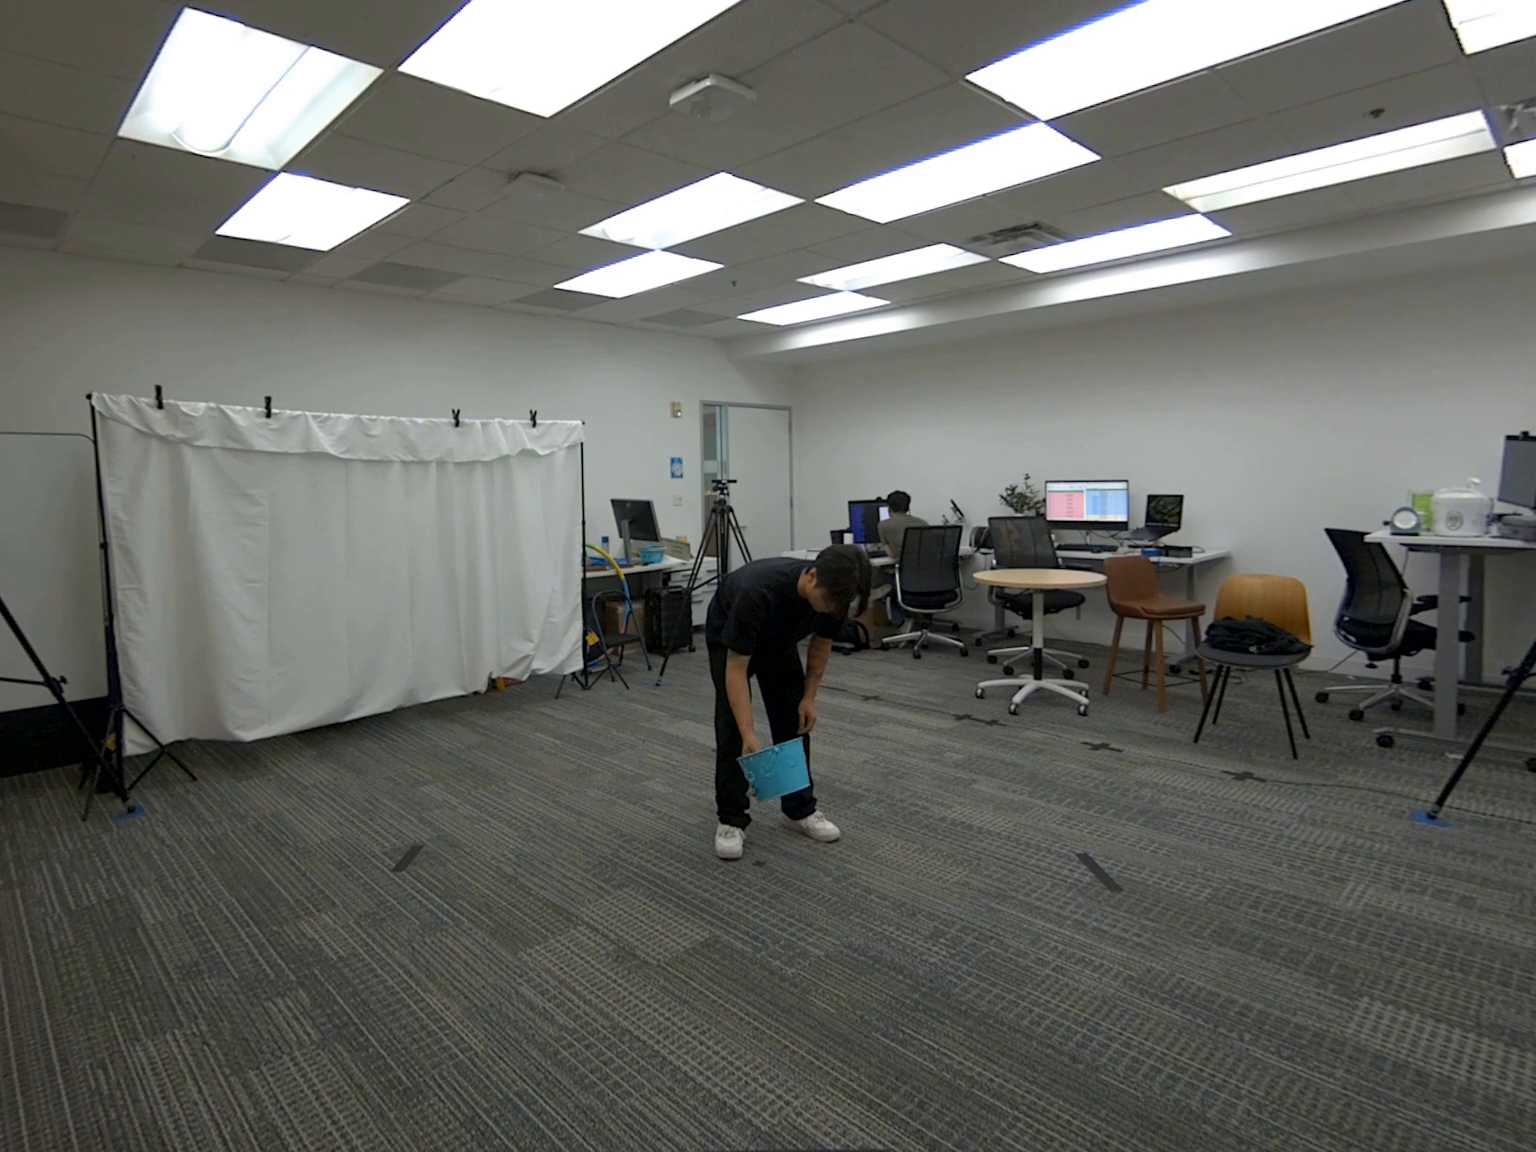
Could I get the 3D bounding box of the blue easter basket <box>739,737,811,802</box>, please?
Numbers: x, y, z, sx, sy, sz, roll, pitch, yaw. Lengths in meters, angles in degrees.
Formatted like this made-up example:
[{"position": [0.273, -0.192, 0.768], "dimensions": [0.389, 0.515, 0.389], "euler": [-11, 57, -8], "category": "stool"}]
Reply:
[{"position": [0.013, 0.652, 2.822], "dimensions": [0.243, 0.158, 0.241], "euler": [-16, -11, -5], "category": "blue easter basket"}]
